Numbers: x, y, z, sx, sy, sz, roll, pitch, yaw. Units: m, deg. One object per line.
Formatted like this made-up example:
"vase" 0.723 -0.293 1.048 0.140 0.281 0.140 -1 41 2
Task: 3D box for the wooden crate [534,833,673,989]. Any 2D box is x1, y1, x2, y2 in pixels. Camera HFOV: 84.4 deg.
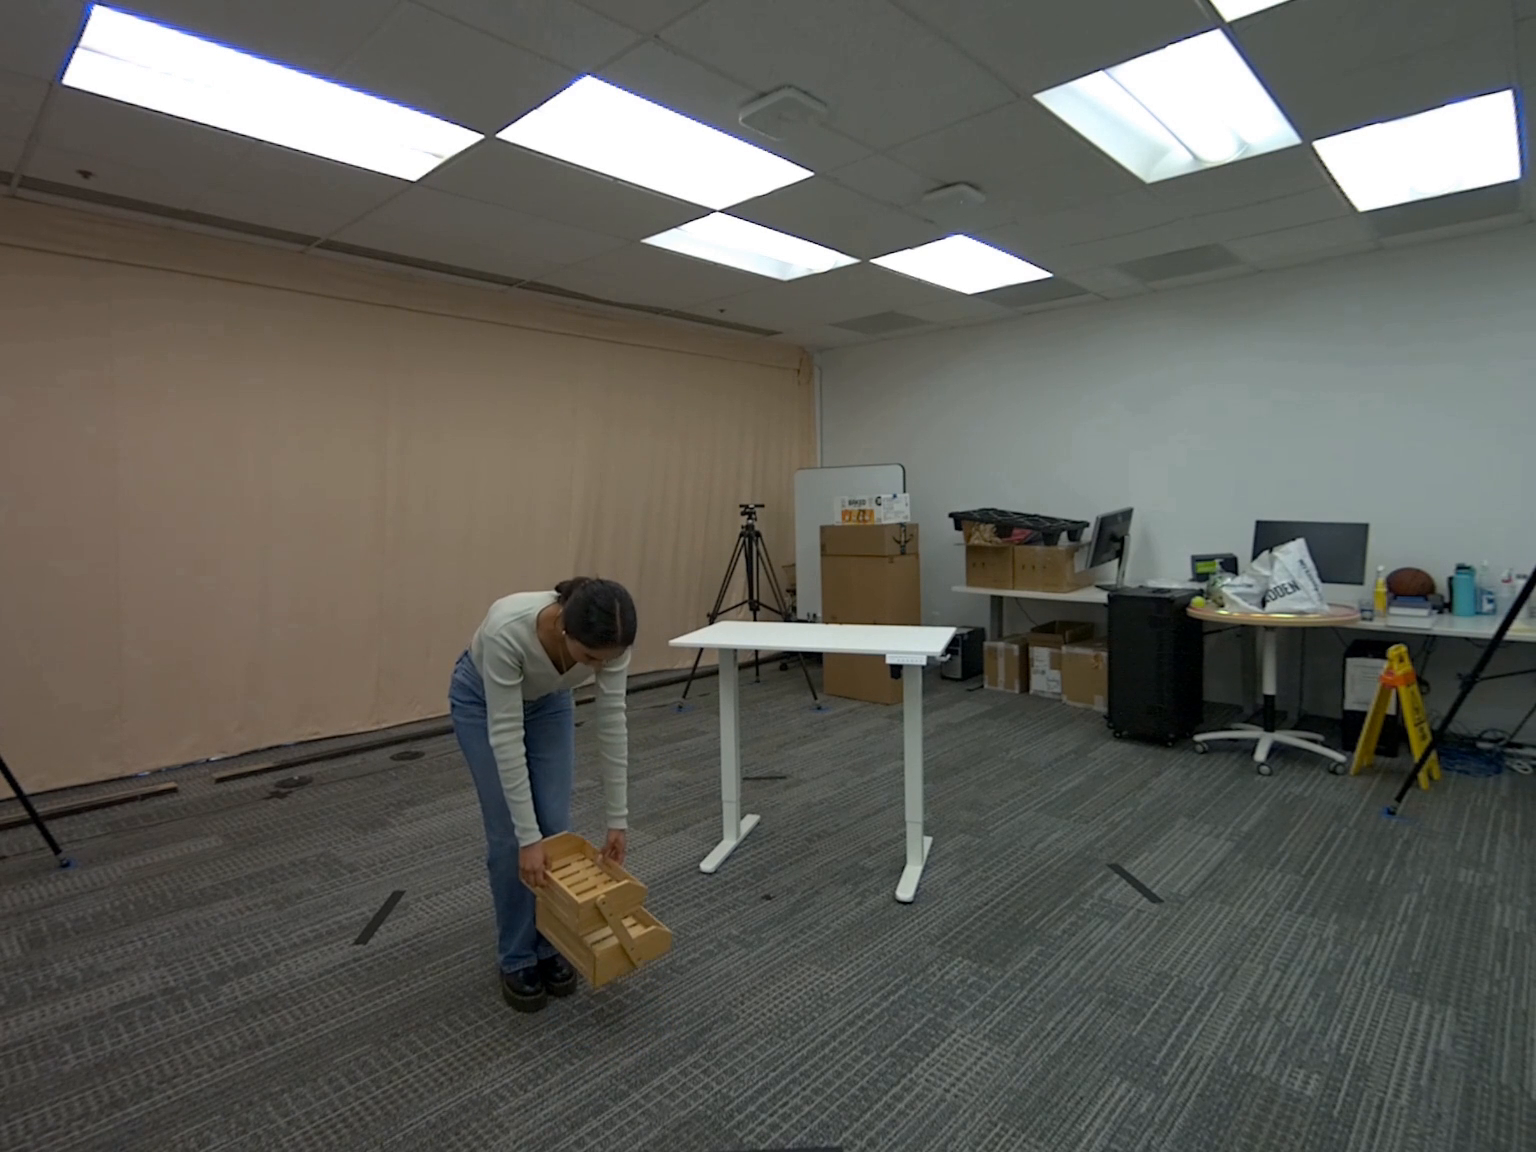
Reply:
"wooden crate" -0.455 0.861 2.247 0.293 0.271 0.336 -9 16 -42
